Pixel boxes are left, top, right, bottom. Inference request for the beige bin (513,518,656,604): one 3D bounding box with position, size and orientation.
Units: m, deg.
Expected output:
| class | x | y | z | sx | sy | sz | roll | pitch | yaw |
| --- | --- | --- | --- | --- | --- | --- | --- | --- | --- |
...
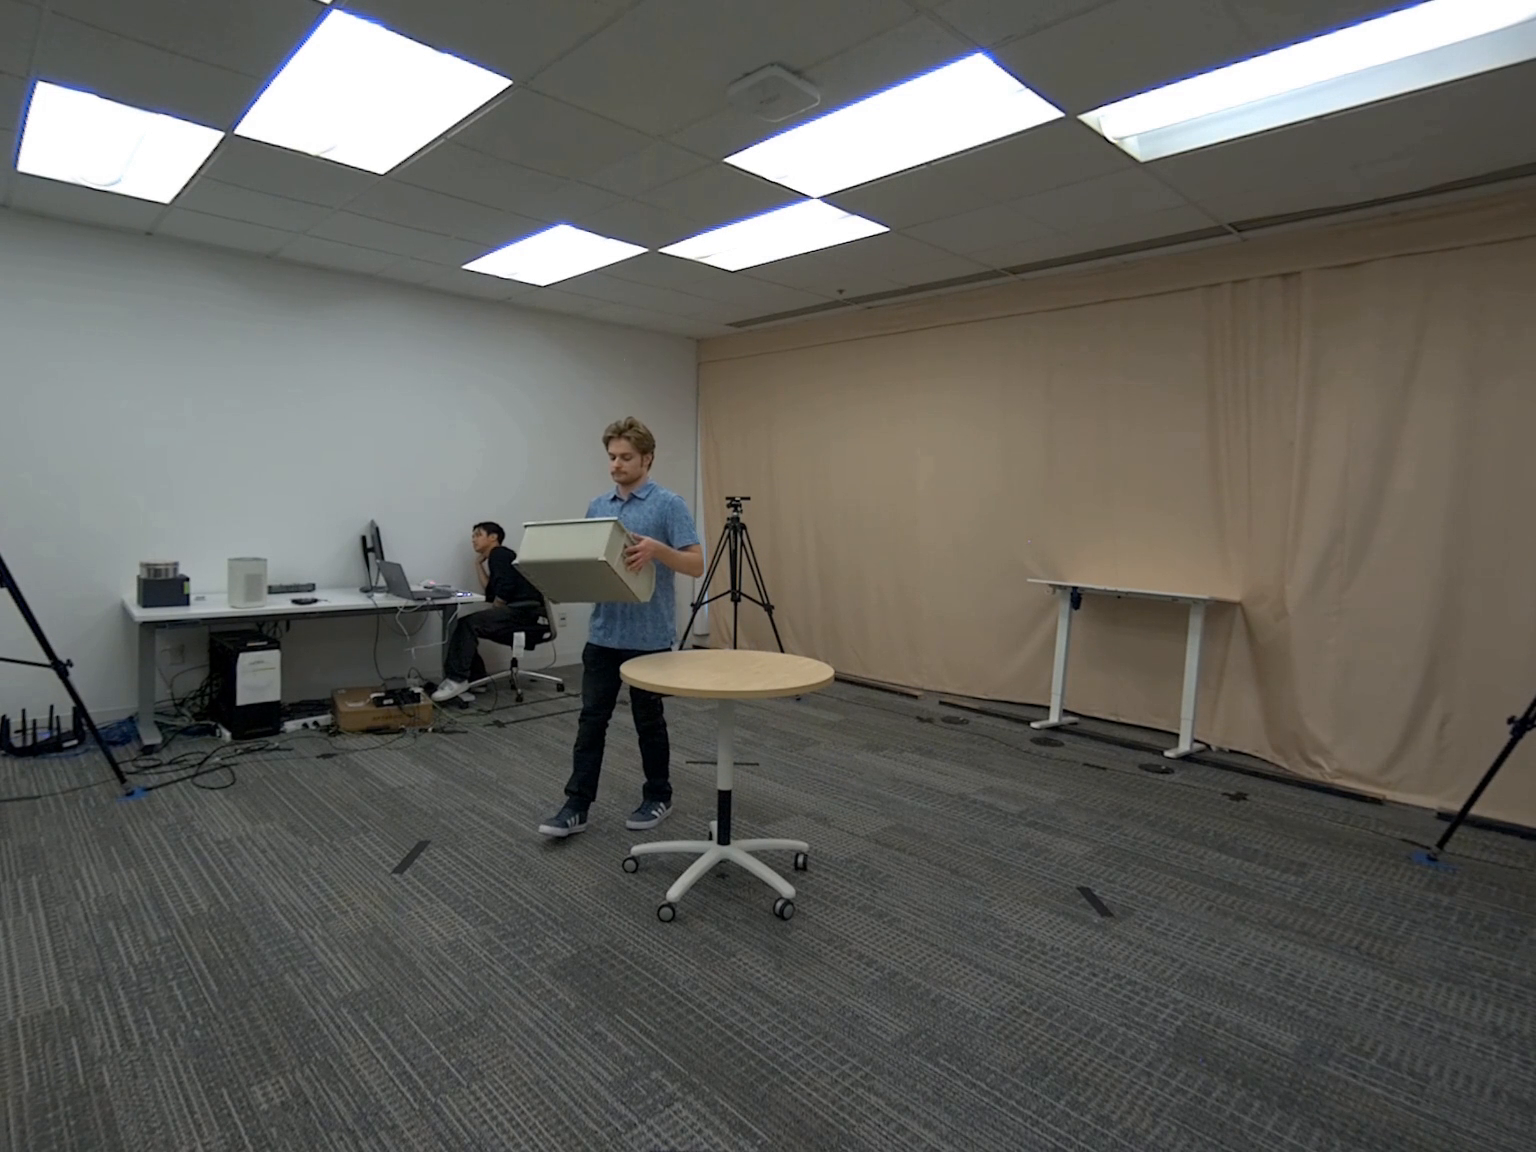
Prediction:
| class | x | y | z | sx | sy | sz | roll | pitch | yaw |
| --- | --- | --- | --- | --- | --- | --- | --- | --- | --- |
| beige bin | -0.715 | -0.037 | 3.247 | 0.429 | 0.191 | 0.366 | -1 | -30 | 22 |
